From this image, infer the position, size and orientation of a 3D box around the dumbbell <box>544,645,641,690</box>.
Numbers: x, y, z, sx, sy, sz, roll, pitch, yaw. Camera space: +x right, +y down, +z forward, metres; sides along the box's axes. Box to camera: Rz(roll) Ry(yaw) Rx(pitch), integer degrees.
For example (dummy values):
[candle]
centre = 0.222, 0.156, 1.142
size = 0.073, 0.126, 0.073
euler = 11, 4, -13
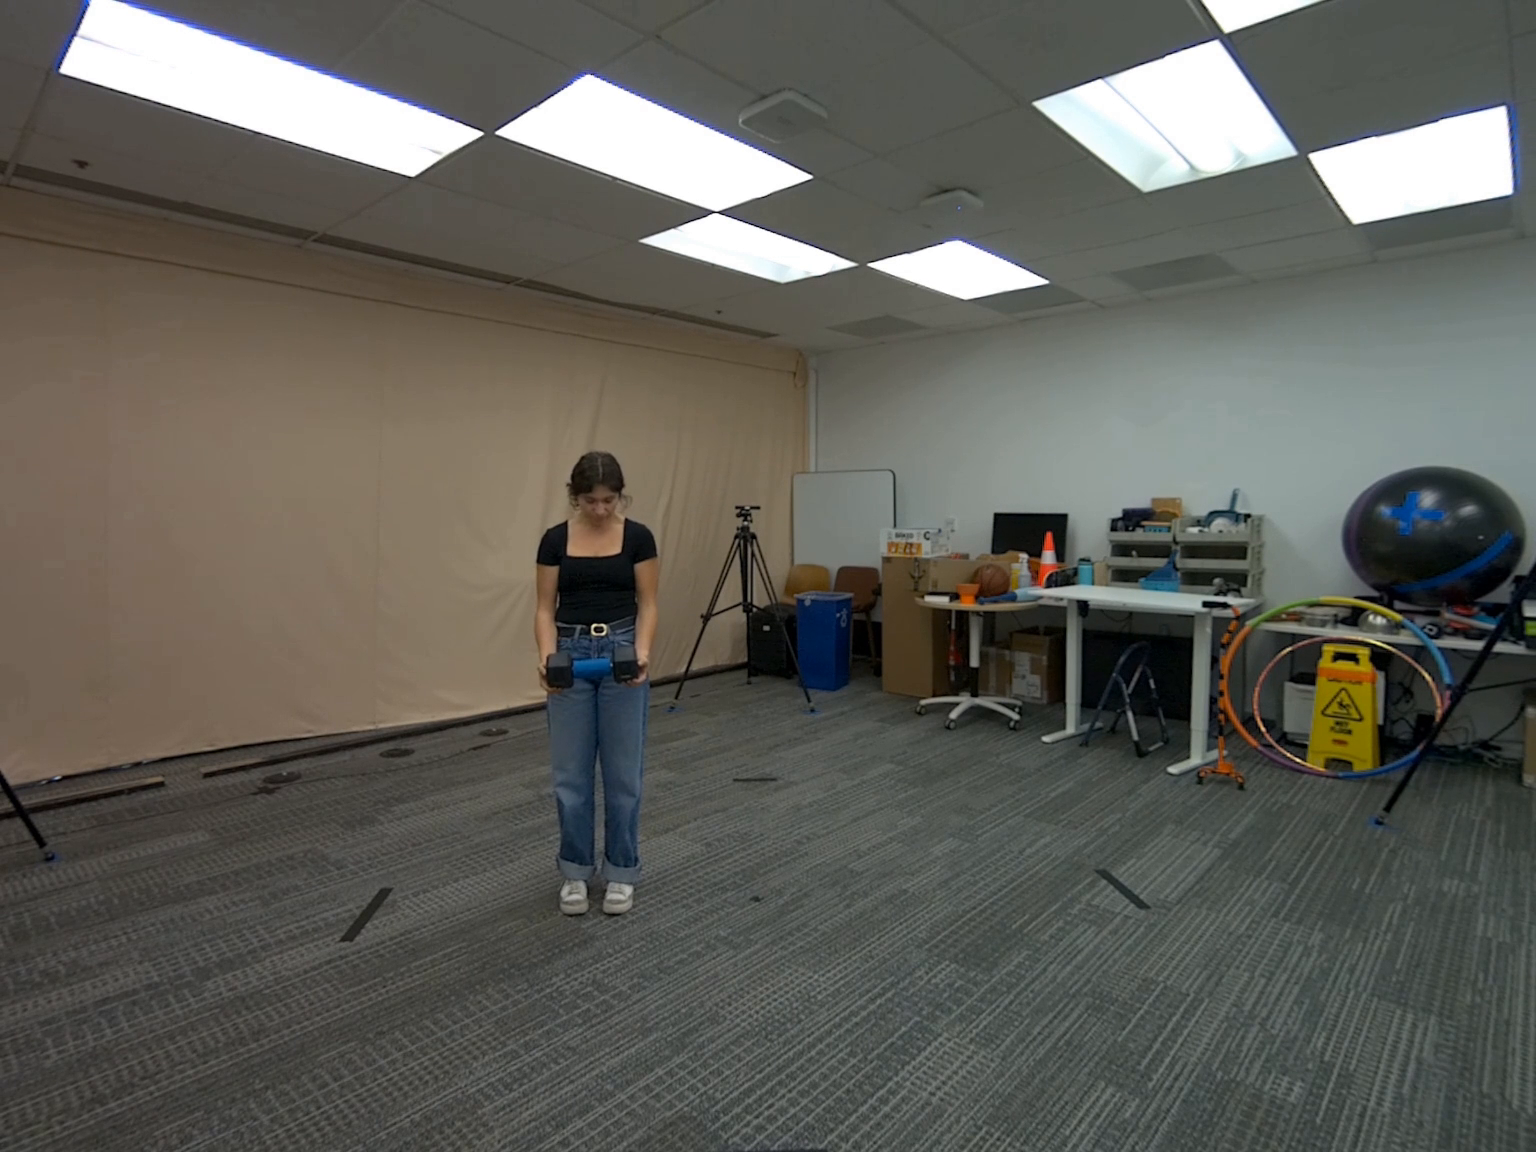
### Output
[dumbbell]
centre = -0.574, 0.289, 2.741
size = 0.292, 0.110, 0.122
euler = -3, -19, -5
